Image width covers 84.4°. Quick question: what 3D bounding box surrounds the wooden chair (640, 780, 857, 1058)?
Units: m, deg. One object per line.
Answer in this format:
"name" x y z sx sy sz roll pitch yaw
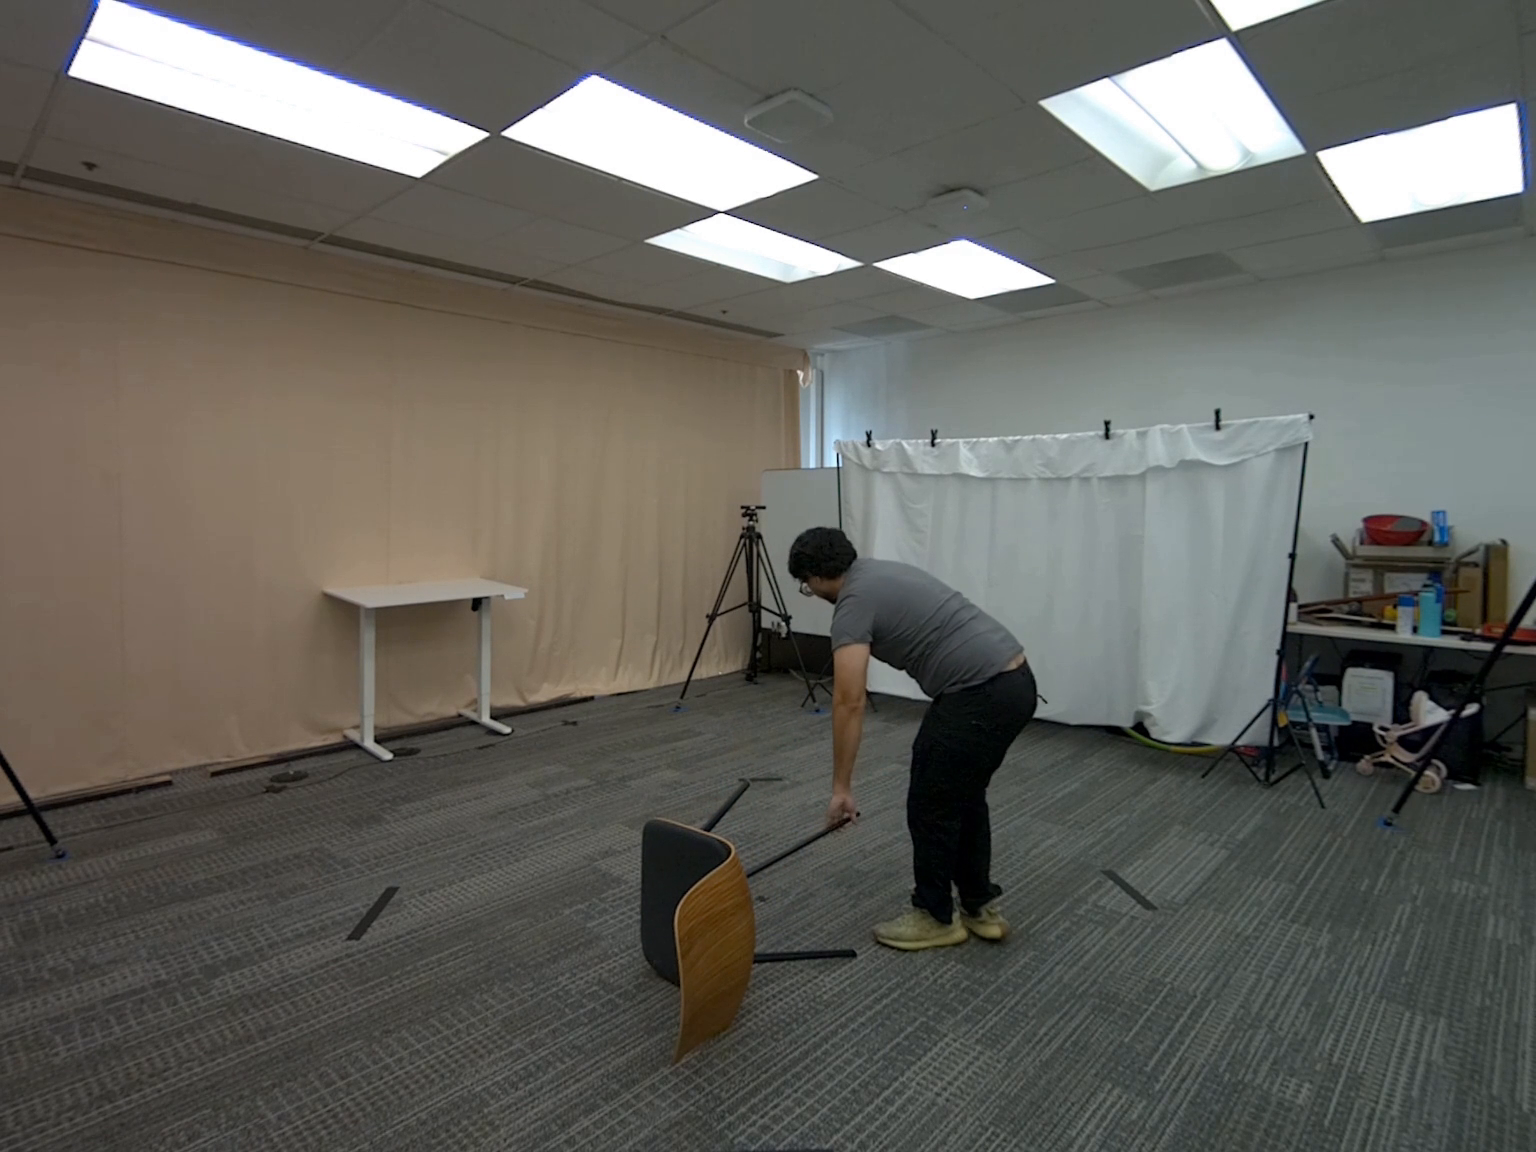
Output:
"wooden chair" -0.169 0.965 2.425 0.540 0.477 0.852 3 4 34
